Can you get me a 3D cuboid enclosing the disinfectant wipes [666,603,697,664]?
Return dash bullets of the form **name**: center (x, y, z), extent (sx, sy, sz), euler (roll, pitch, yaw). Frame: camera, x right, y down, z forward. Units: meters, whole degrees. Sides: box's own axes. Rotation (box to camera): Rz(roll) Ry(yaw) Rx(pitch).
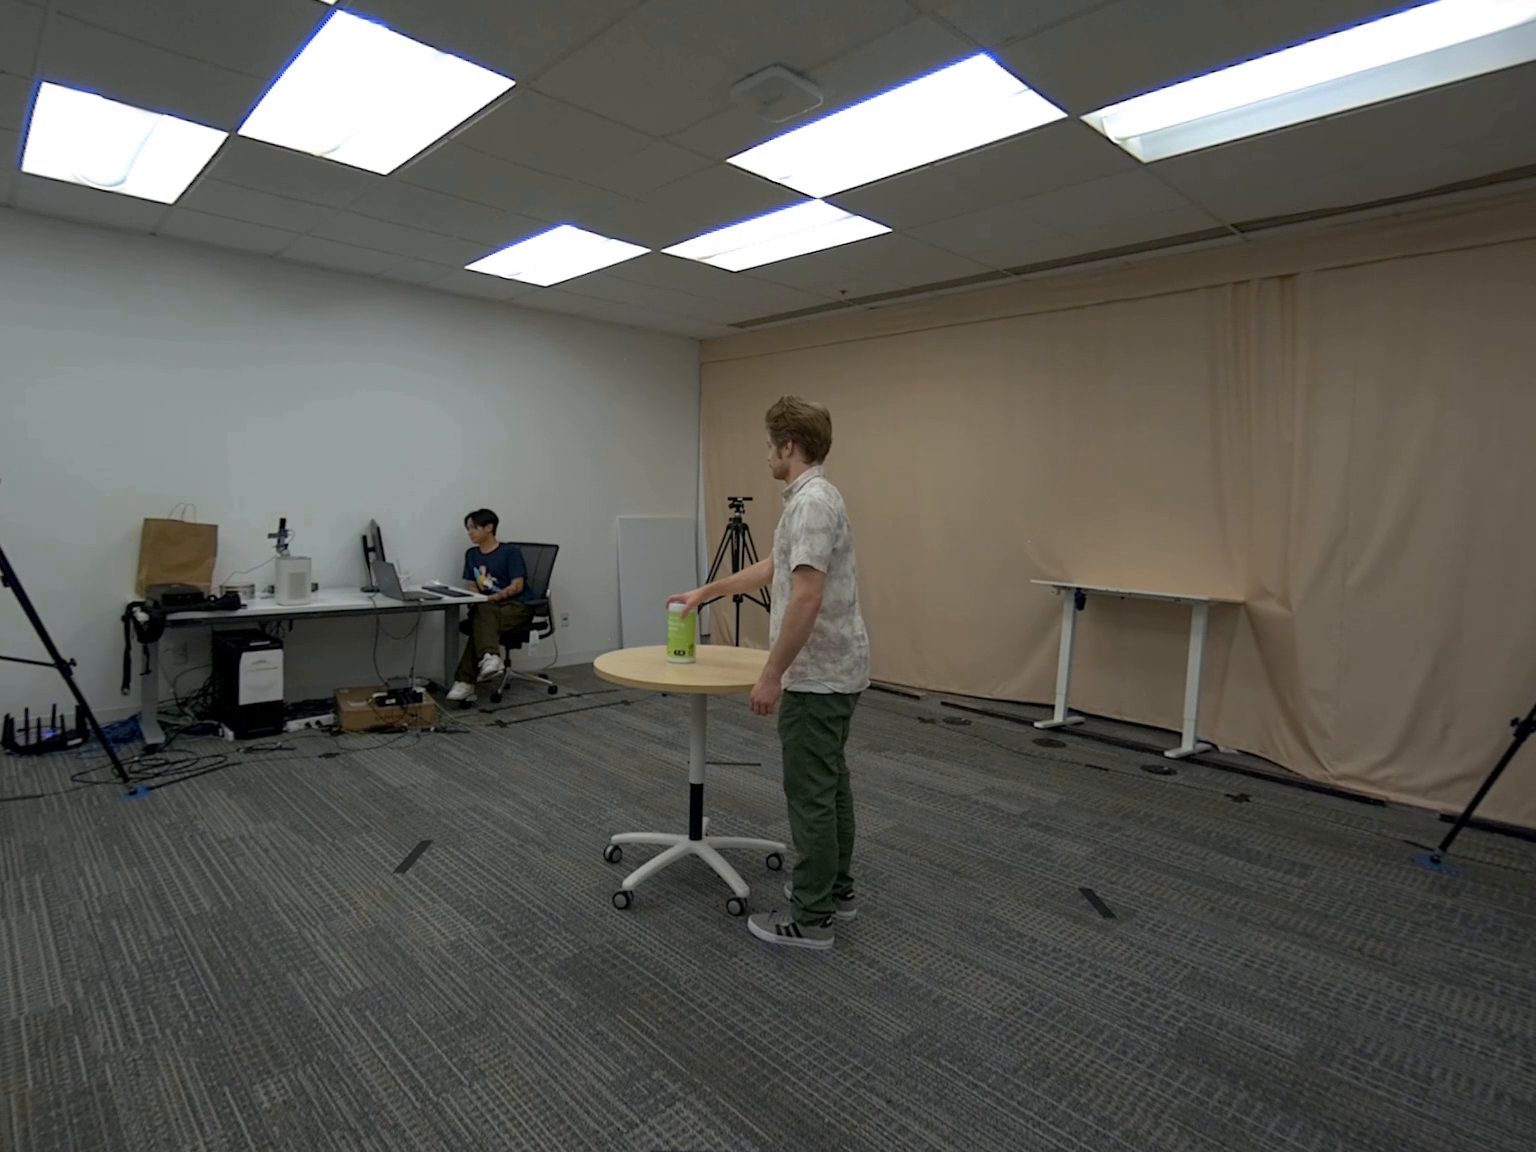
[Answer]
- **disinfectant wipes**: center (-0.319, 0.208, 3.079), extent (0.118, 0.217, 0.118), euler (2, 4, -2)
